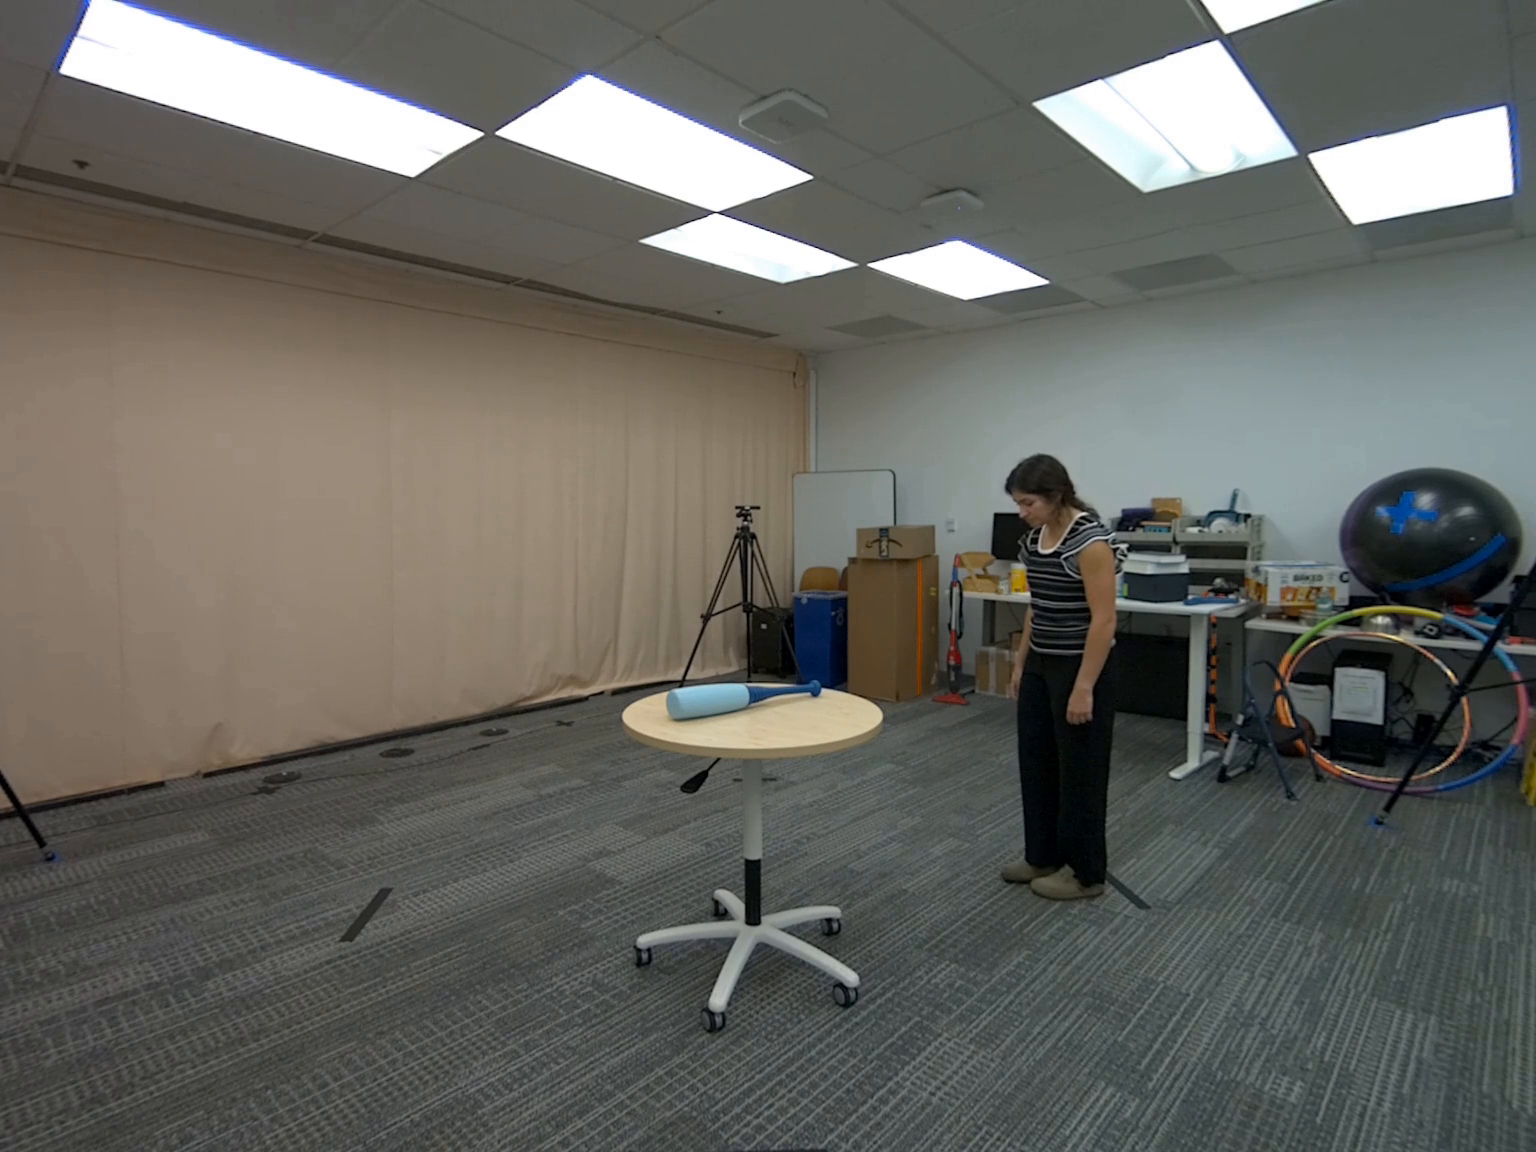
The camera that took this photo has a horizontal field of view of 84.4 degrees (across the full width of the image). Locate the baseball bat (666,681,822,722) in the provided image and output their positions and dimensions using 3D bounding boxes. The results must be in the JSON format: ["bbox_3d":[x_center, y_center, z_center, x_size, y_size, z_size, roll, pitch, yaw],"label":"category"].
[{"bbox_3d":[-0.071,0.369,2.528,0.527,0.089,0.092,-1,4,-34],"label":"baseball bat"}]
